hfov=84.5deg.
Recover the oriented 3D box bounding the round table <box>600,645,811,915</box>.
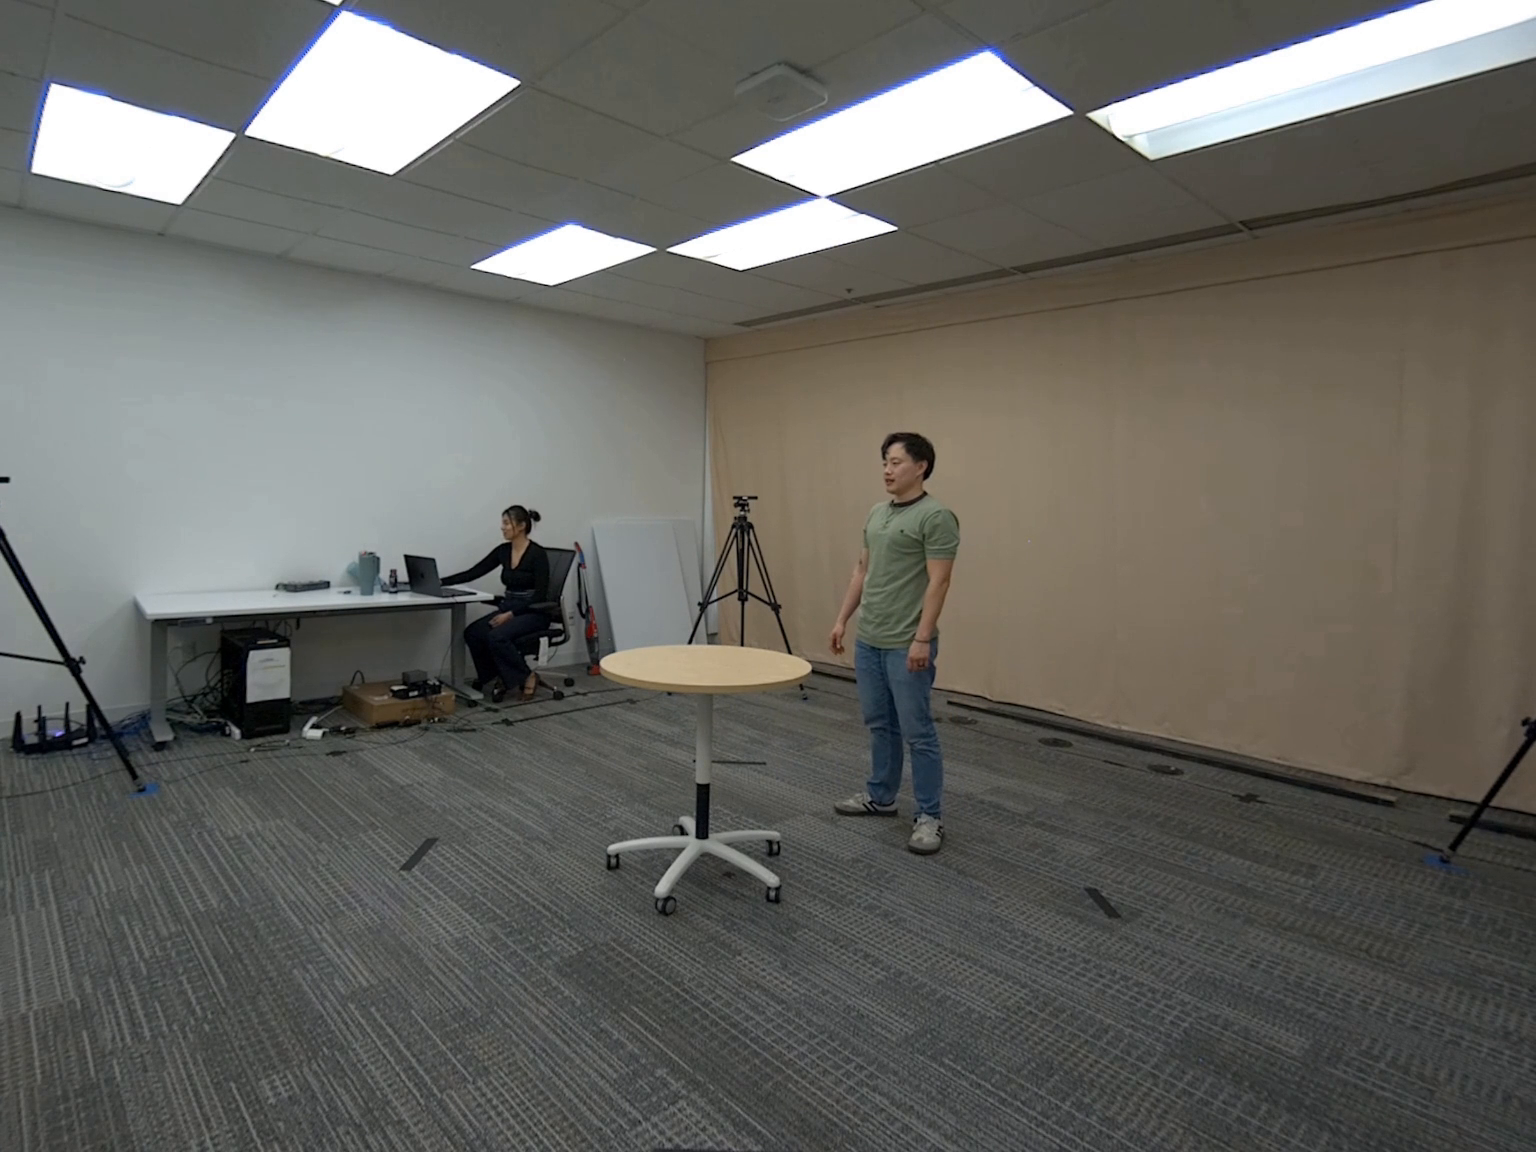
[{"bbox_3d":[-0.241,0.712,3.074,0.763,0.792,0.766,1,4,-1],"label":"round table"}]
